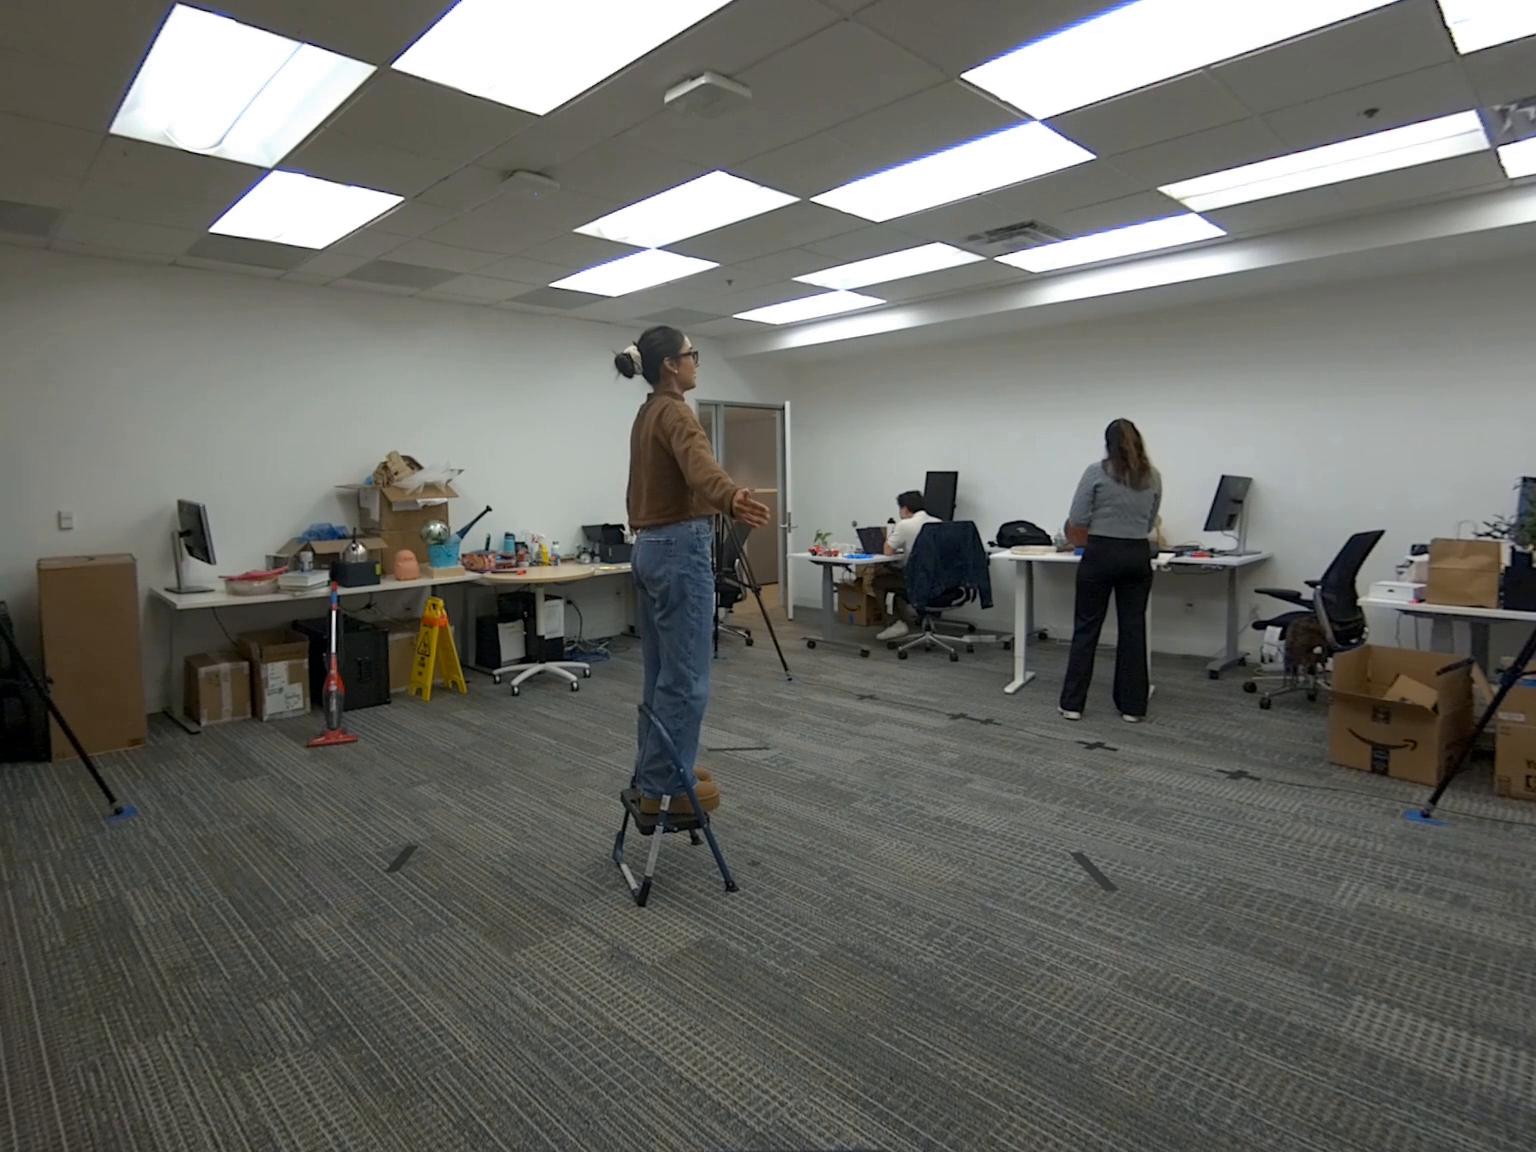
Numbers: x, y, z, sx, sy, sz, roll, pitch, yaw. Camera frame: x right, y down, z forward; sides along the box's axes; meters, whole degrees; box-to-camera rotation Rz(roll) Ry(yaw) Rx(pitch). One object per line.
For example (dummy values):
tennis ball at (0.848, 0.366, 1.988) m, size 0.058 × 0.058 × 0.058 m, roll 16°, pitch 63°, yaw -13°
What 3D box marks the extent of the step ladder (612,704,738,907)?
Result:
step ladder at (-0.346, 0.760, 3.026) m, size 0.343 × 0.604 × 0.440 m, roll -3°, pitch 5°, yaw -22°
